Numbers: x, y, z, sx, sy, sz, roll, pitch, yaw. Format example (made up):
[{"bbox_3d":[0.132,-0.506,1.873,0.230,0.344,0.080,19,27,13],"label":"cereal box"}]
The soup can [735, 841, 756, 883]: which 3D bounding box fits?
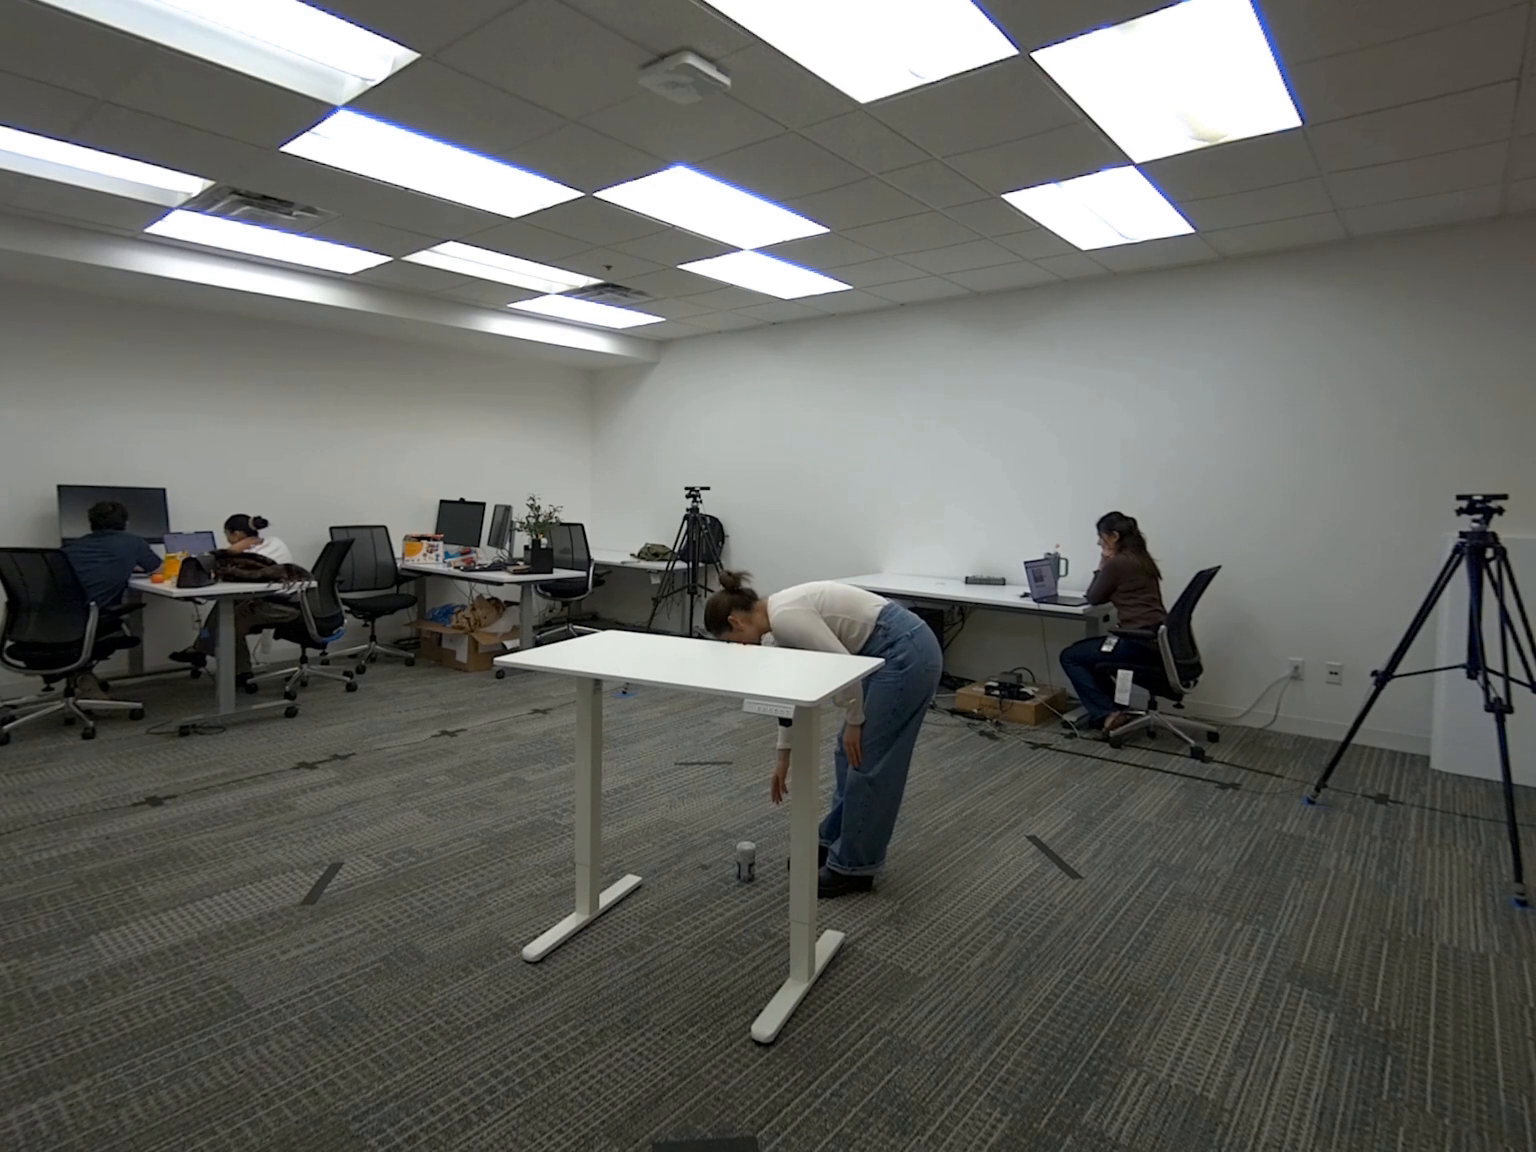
[{"bbox_3d":[-0.090,1.024,3.033,0.067,0.121,0.067,0,2,-2],"label":"soup can"}]
